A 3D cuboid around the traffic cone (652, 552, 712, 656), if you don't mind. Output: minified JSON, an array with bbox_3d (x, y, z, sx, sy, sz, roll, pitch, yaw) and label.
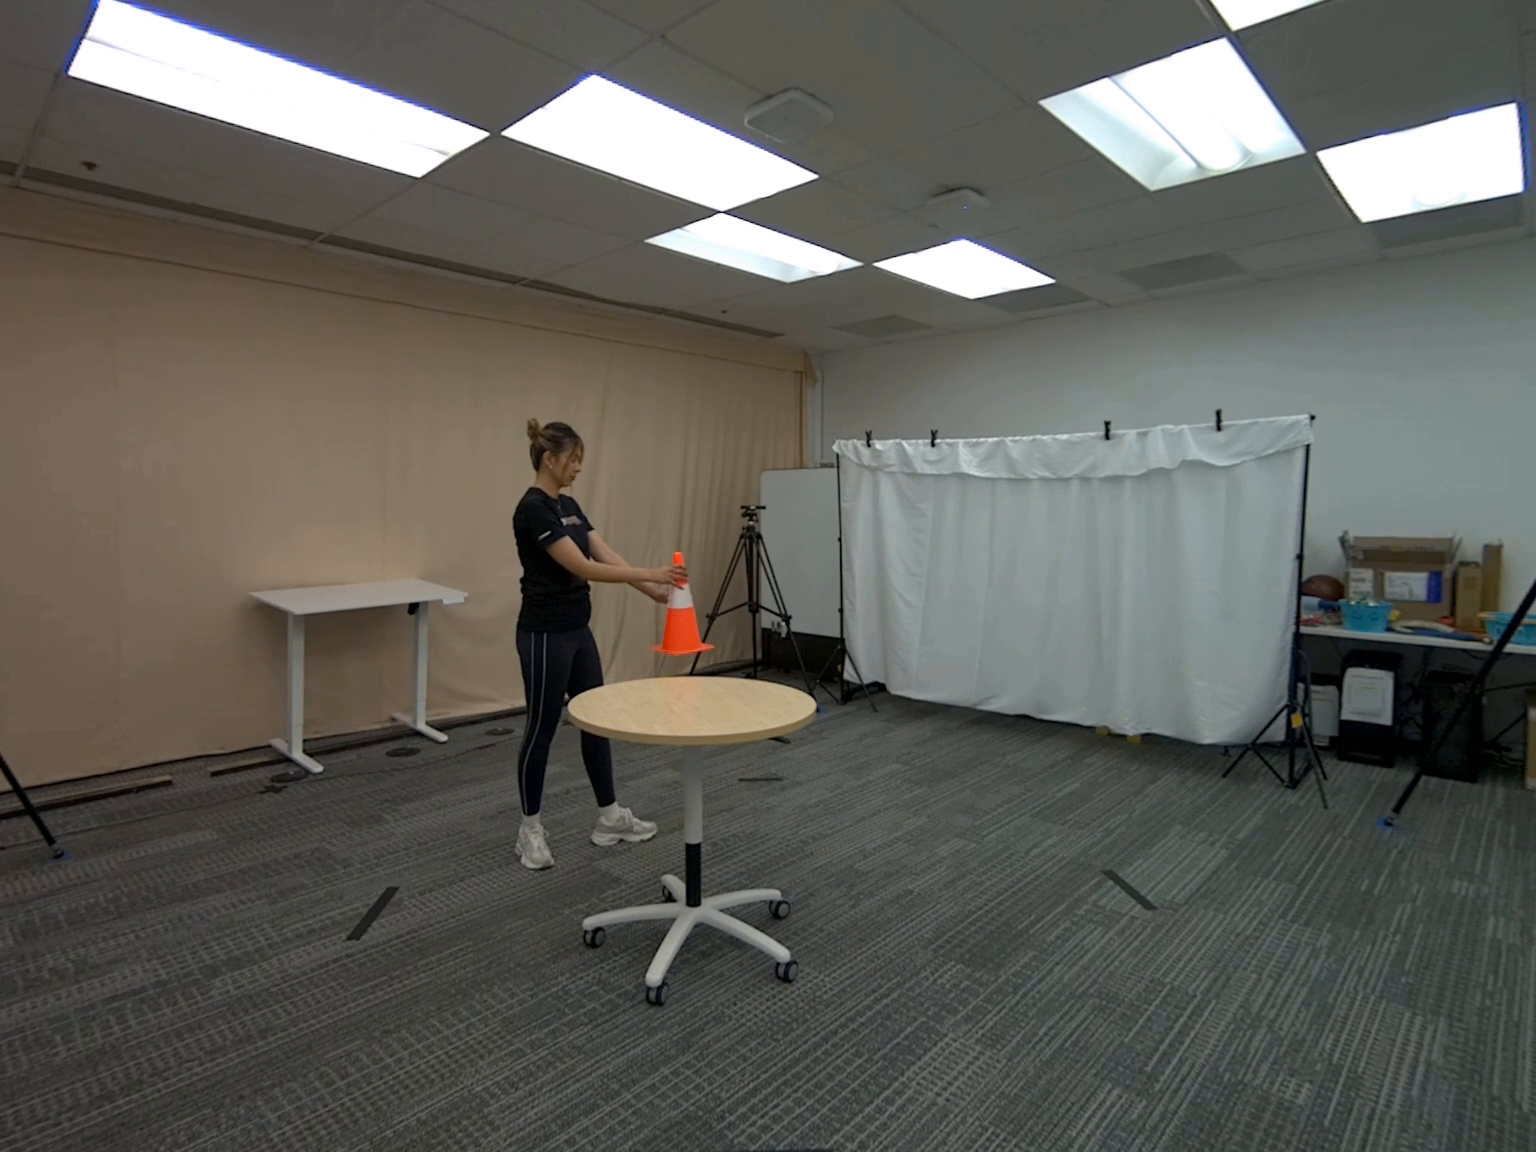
[{"bbox_3d":[-0.347,0.099,3.328,0.198,0.382,0.211,-3,8,-26],"label":"traffic cone"}]
